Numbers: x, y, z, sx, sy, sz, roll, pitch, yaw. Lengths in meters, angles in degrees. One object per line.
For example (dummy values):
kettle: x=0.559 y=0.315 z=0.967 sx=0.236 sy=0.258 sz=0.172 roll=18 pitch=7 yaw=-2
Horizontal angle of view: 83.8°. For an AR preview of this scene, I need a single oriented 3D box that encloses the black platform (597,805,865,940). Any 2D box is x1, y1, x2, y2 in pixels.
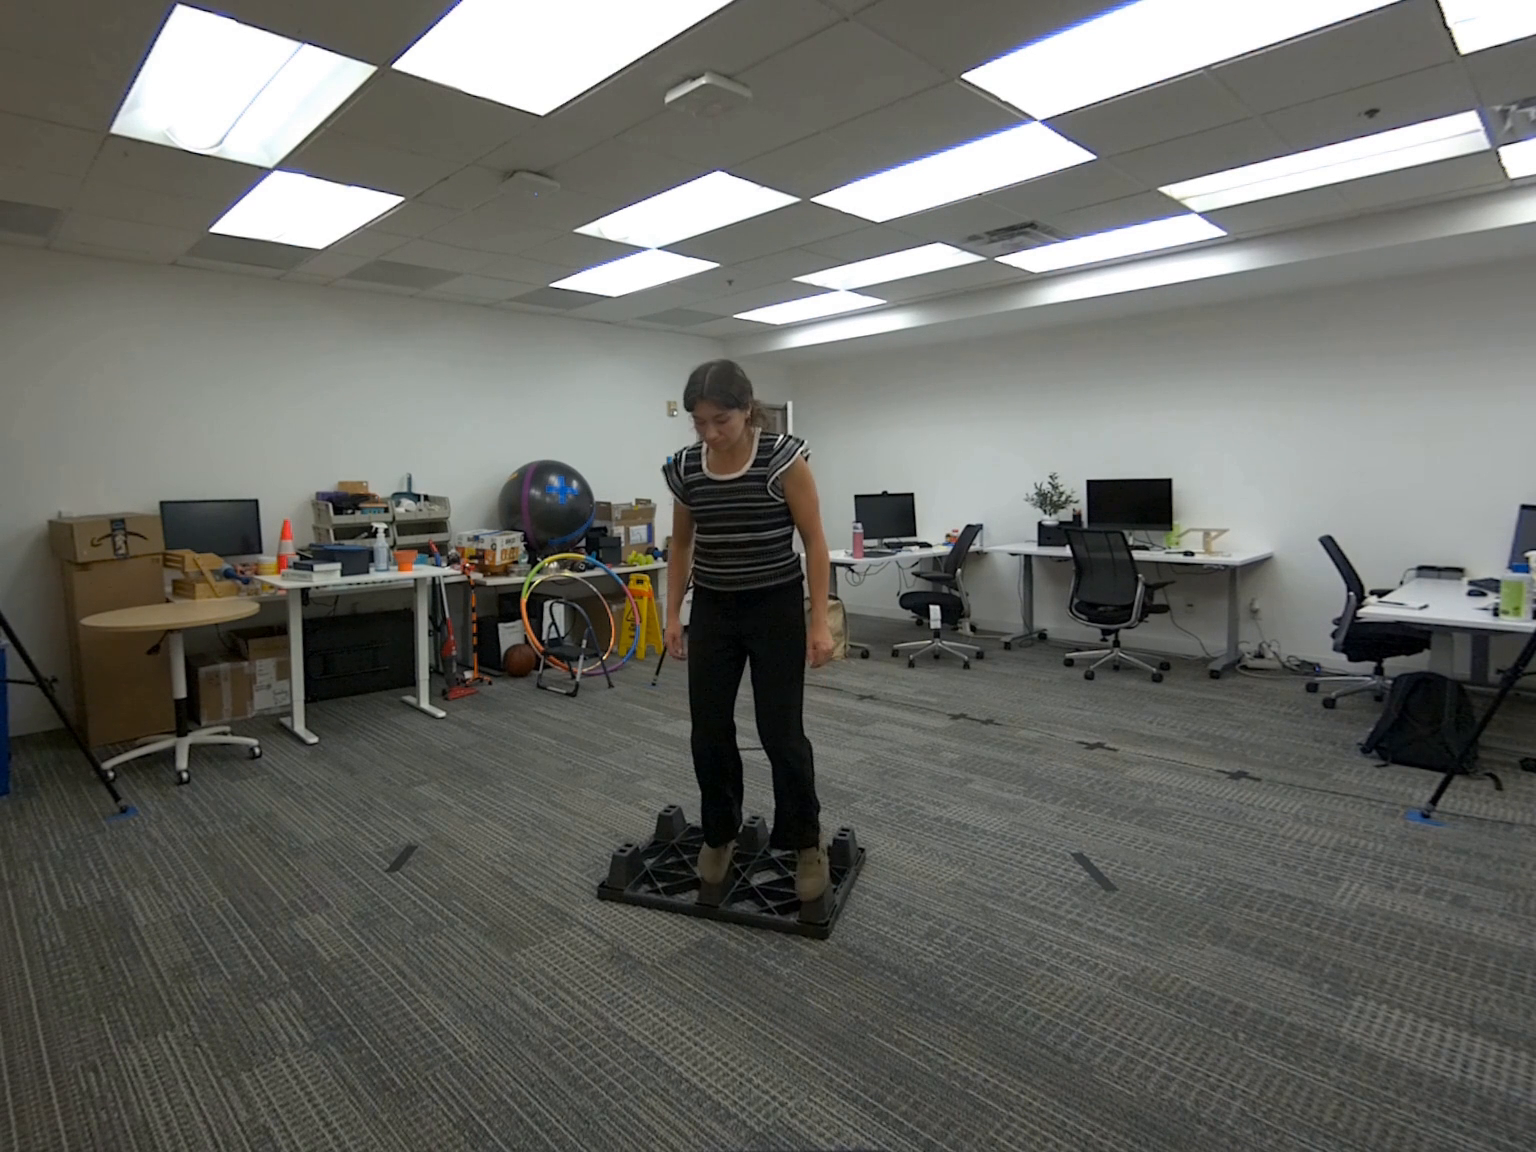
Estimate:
black platform: x=-0.103 y=0.993 z=2.996 sx=0.821 sy=0.142 sz=0.597 roll=2 pitch=8 yaw=19
